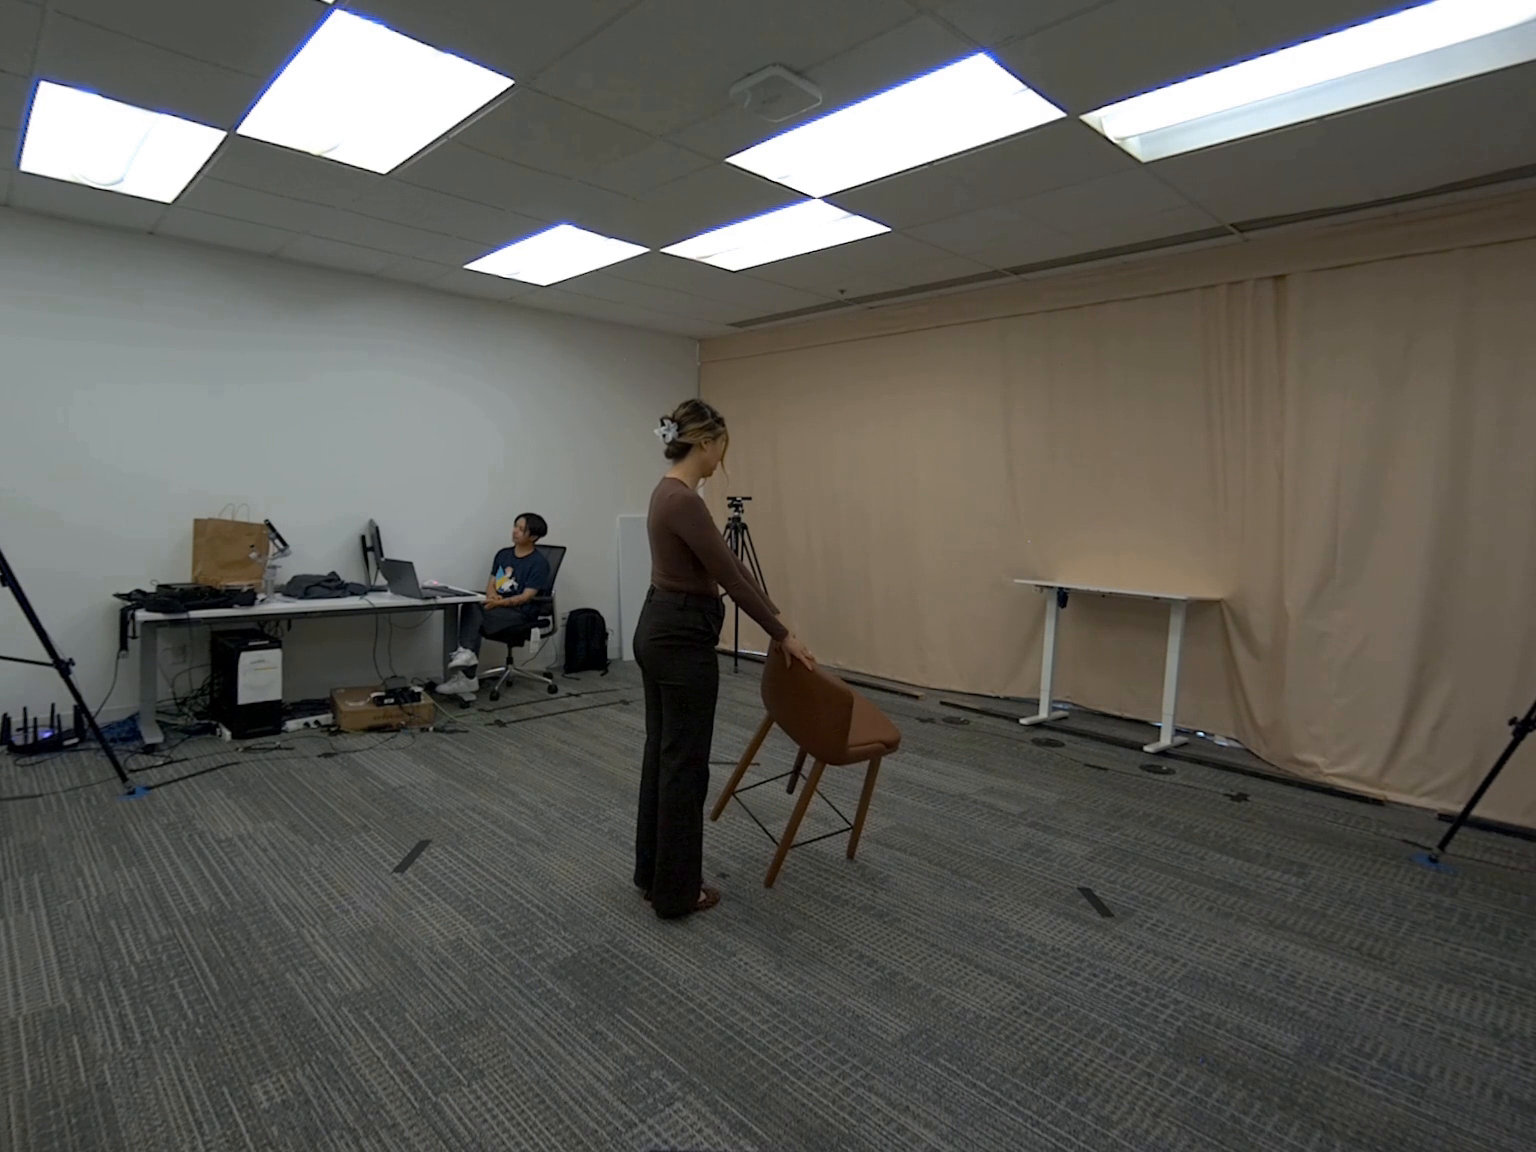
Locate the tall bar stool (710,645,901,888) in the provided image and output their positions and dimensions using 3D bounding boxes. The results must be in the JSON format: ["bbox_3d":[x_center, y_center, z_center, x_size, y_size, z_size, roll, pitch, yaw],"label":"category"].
[{"bbox_3d":[0.163,0.637,3.113,0.457,0.880,0.471,-5,31,-41],"label":"tall bar stool"}]
